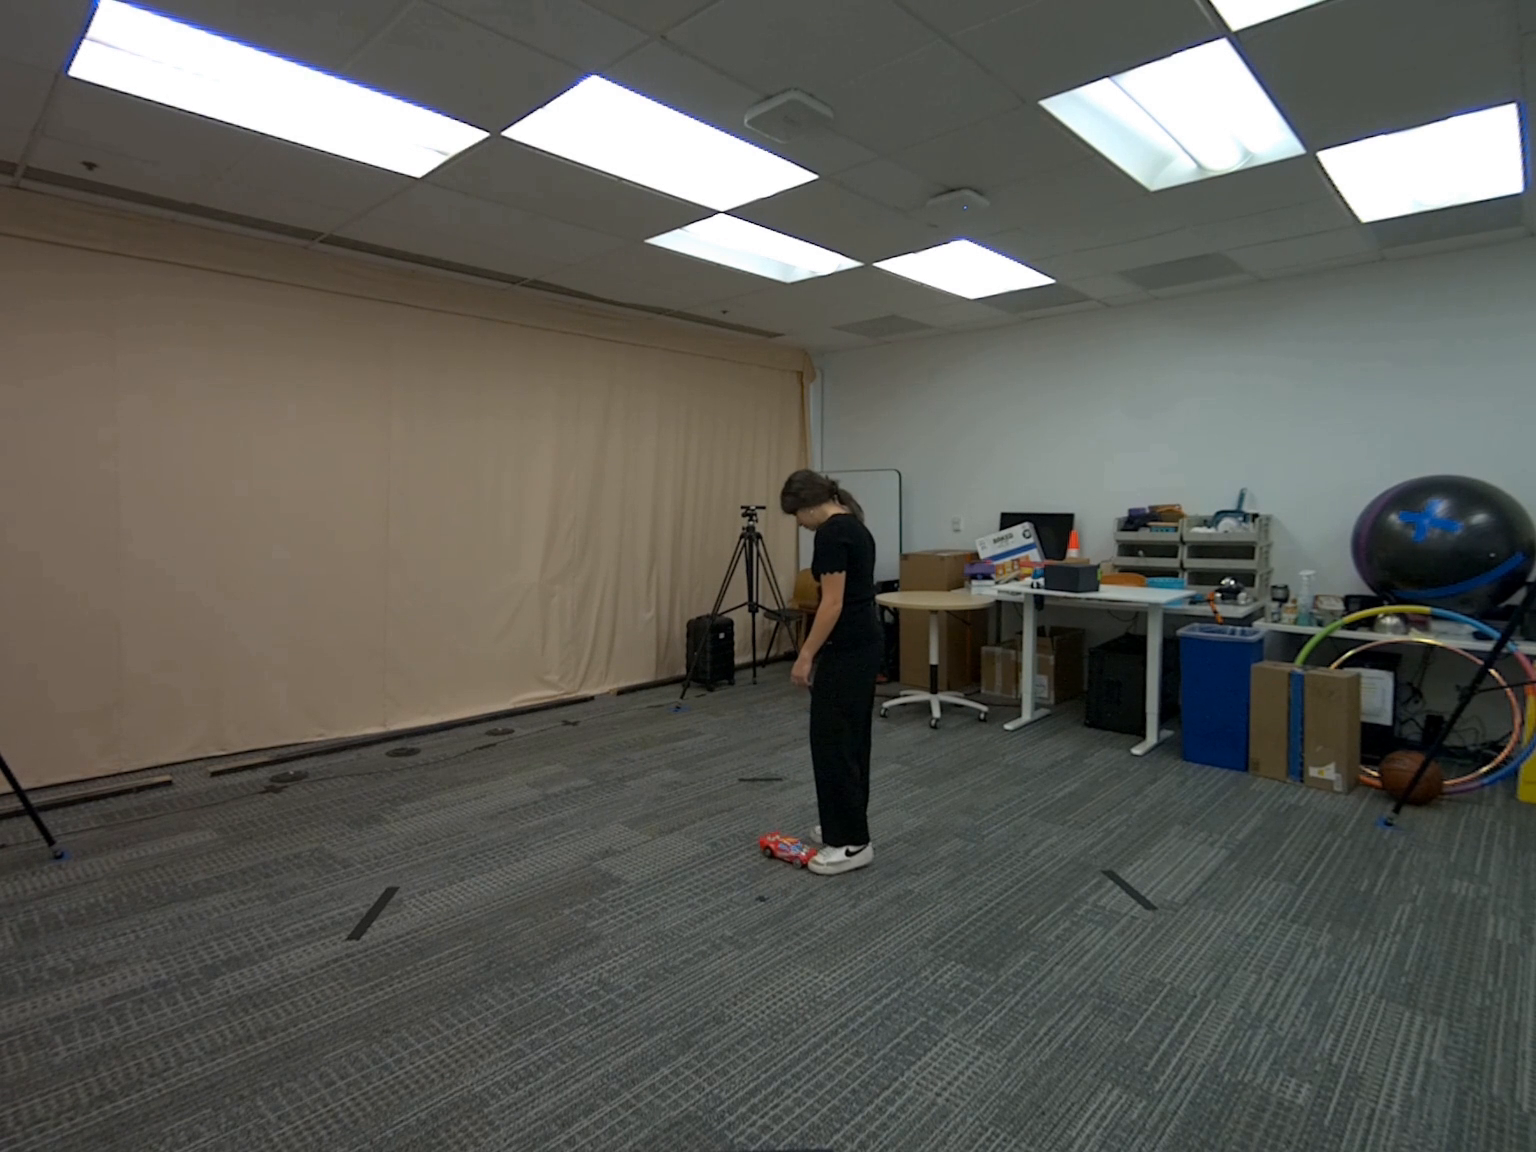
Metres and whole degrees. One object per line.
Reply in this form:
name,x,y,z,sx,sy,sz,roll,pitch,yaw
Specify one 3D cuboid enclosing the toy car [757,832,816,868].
toy car,0.069,1.083,3.341,0.264,0.083,0.126,17,15,40
